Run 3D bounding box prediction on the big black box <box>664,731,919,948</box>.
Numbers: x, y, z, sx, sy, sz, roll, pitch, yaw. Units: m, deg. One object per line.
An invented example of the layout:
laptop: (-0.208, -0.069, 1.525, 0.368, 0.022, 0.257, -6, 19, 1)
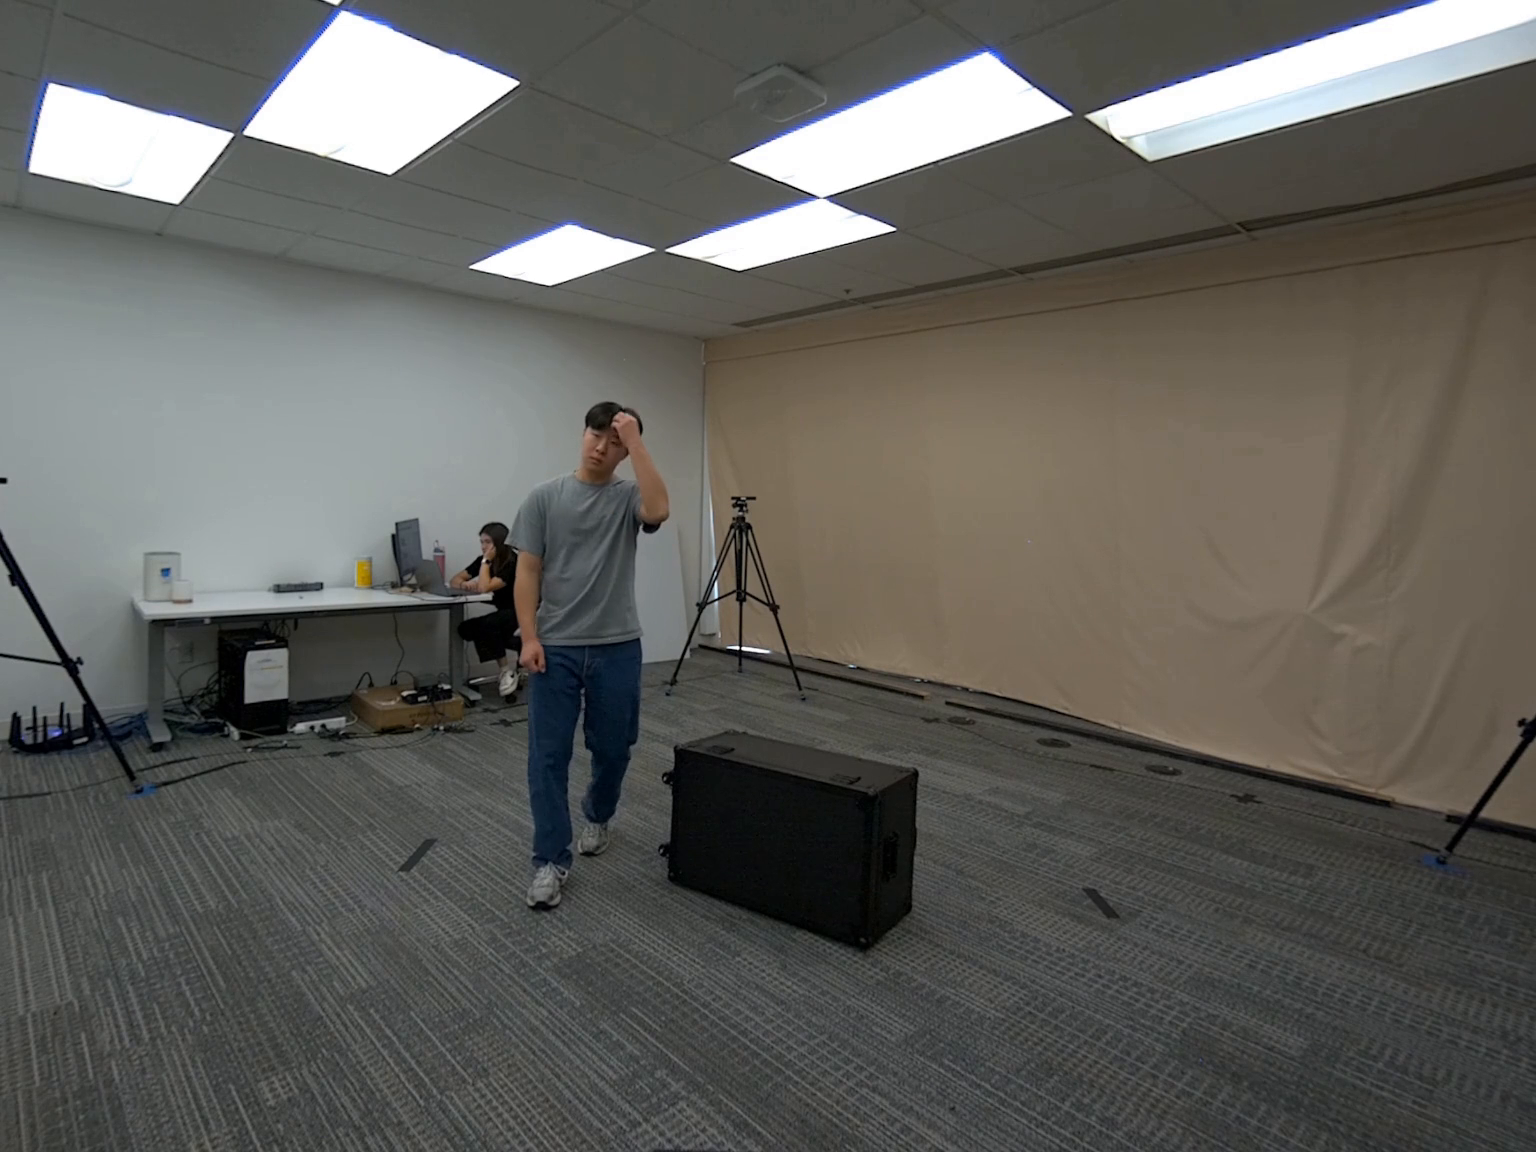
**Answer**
big black box: (0.053, 0.866, 2.962, 0.881, 0.521, 0.387, 4, 2, 33)
